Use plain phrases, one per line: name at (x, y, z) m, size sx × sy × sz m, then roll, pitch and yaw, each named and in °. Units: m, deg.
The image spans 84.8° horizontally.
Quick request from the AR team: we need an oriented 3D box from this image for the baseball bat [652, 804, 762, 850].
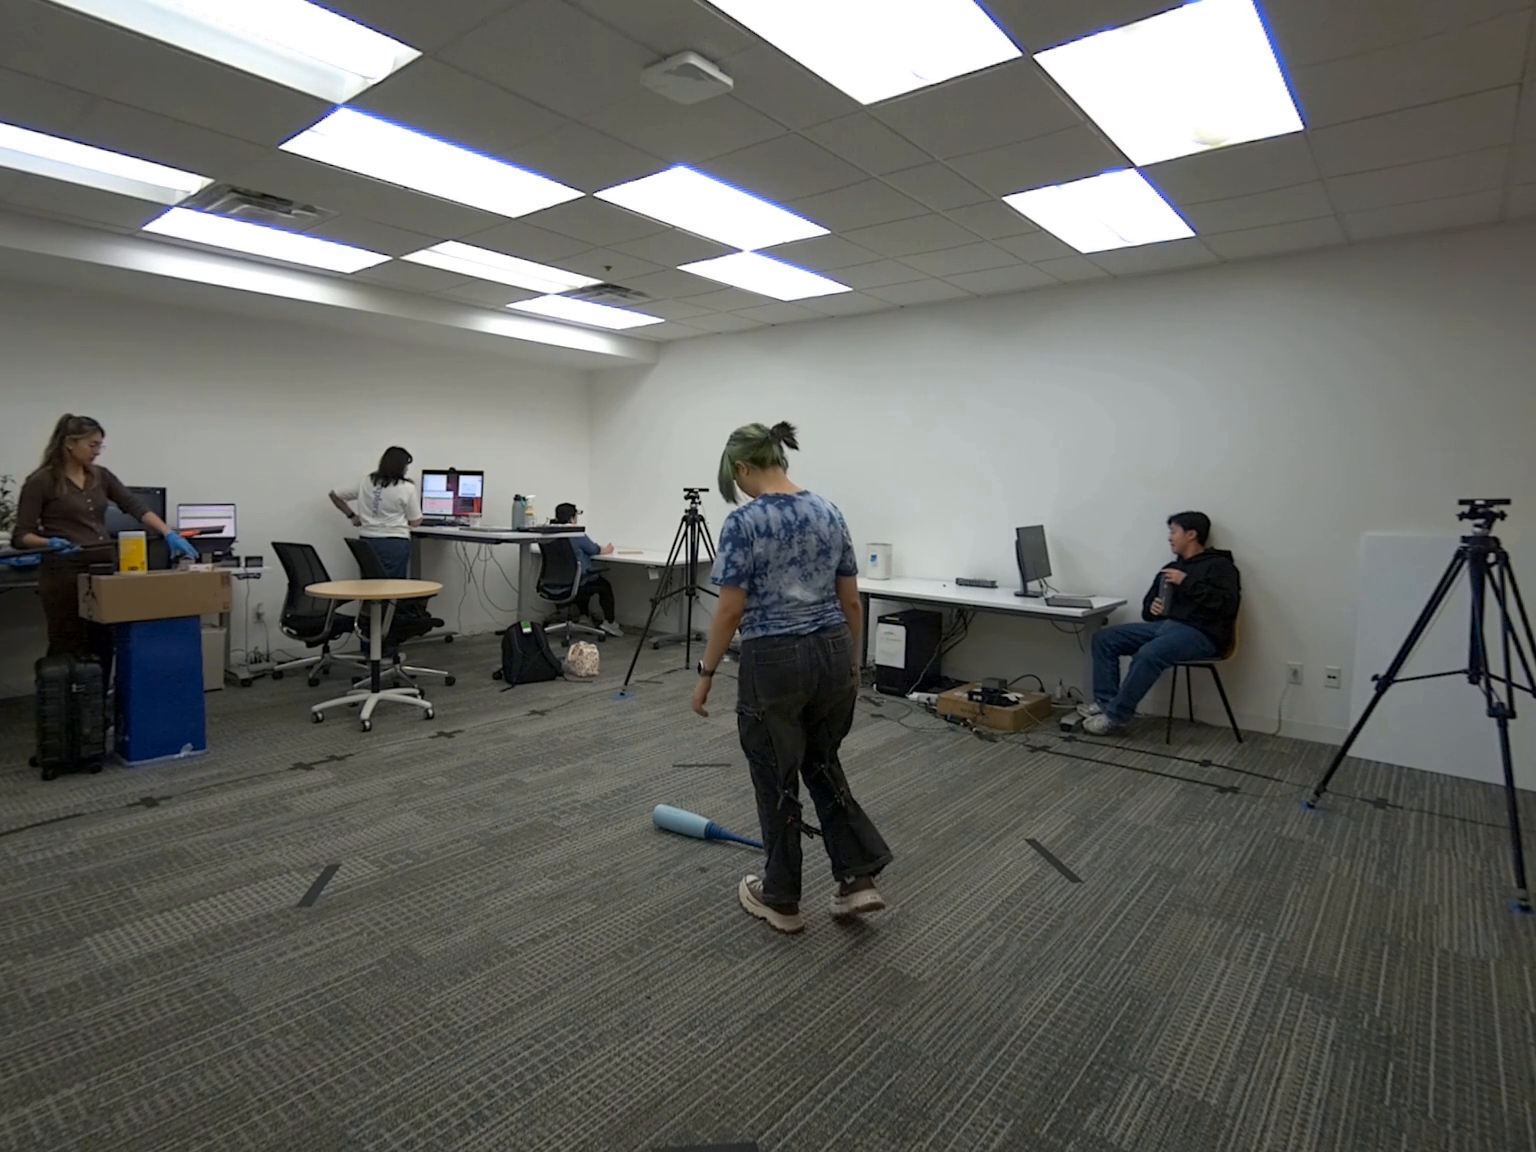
baseball bat at (-0.228, 1.009, 3.369) m, size 0.559 × 0.088 × 0.087 m, roll 7°, pitch 6°, yaw 27°
